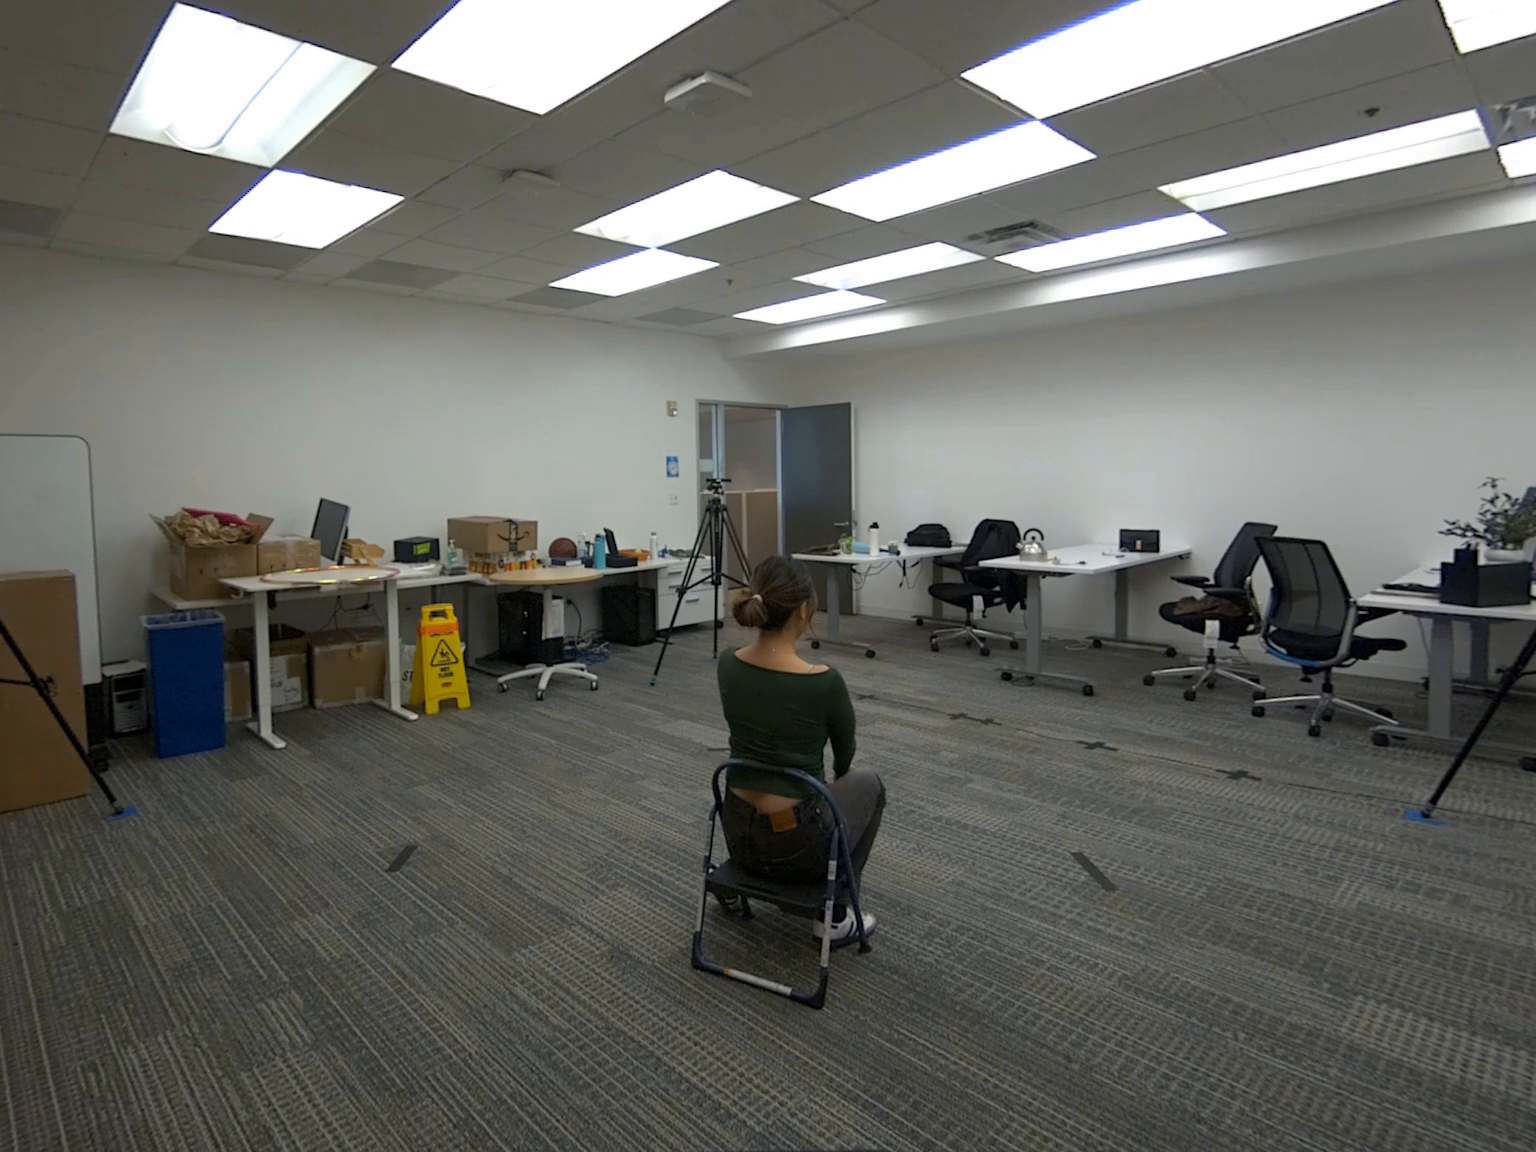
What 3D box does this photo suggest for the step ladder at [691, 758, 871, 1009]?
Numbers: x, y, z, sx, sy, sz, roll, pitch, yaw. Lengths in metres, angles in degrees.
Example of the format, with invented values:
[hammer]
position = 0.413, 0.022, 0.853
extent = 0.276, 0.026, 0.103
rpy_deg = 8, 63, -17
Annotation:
[step ladder]
position = 0.034, 0.823, 2.467
extent = 0.442, 0.603, 0.342
rpy_deg = 1, 6, 29
